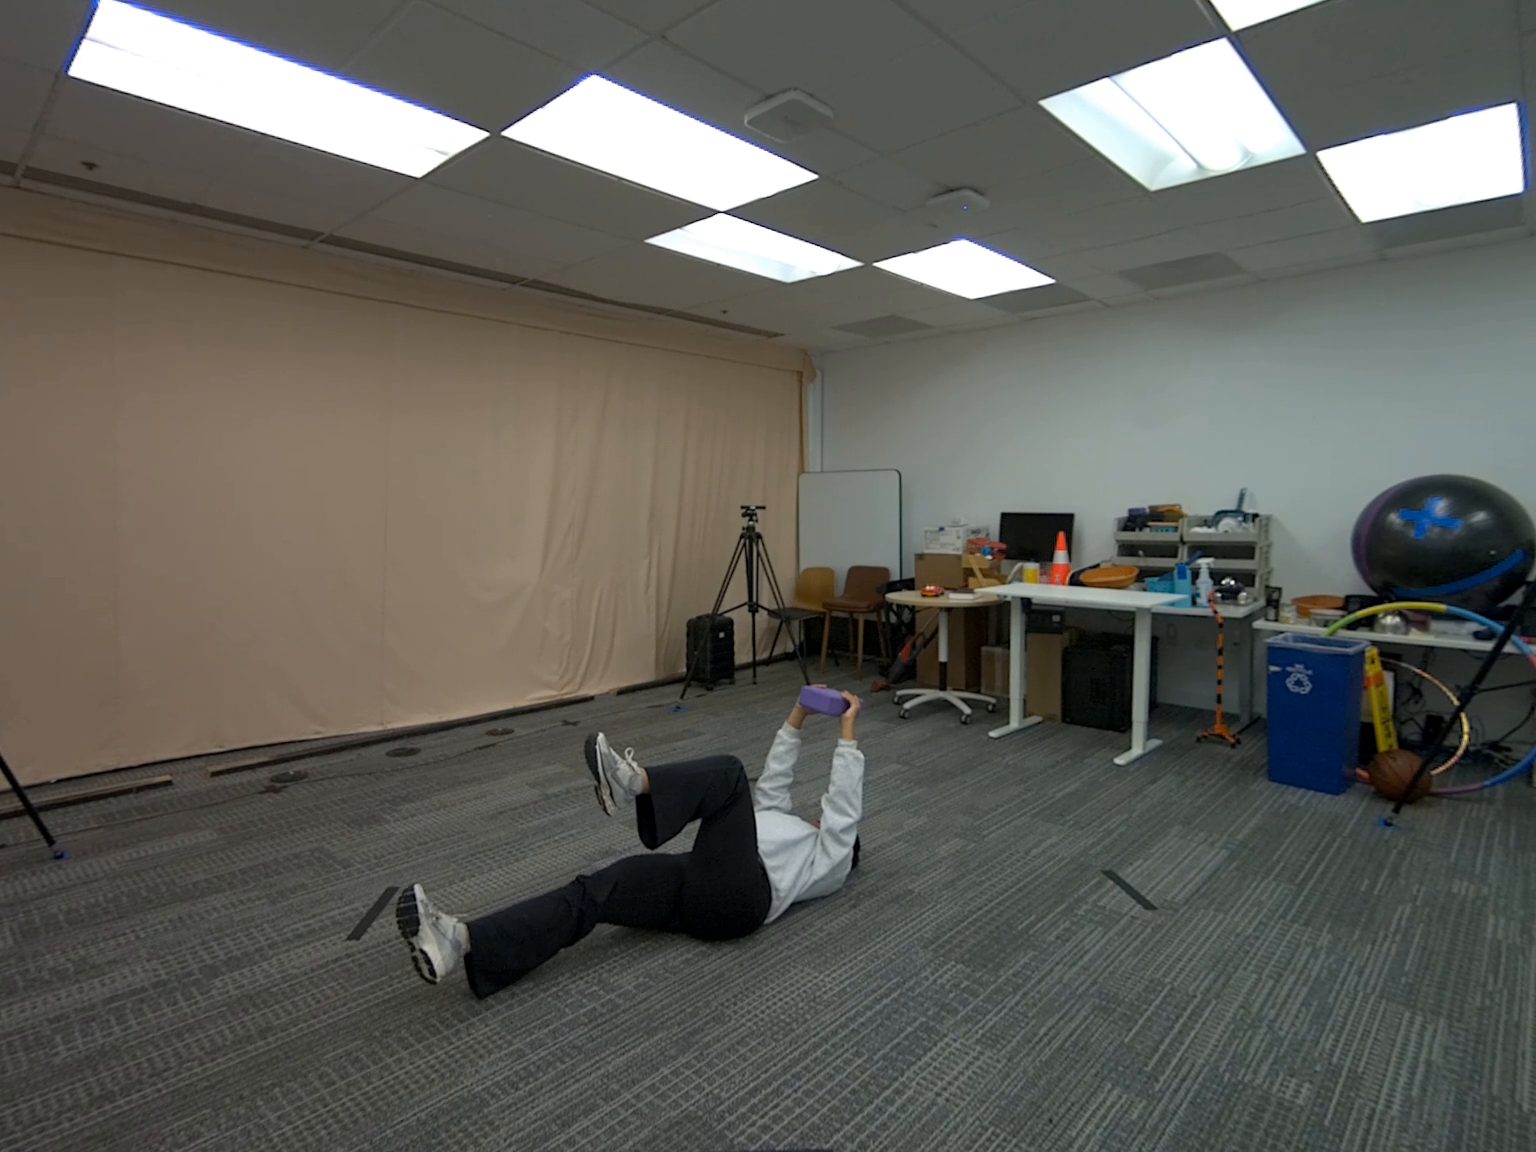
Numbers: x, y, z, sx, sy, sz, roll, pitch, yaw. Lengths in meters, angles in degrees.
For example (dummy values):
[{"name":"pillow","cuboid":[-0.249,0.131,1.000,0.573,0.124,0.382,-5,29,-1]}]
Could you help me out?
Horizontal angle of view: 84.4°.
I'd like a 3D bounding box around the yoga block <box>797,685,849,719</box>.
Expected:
[{"name":"yoga block","cuboid":[0.254,0.486,3.238,0.154,0.076,0.221,14,-1,39]}]
